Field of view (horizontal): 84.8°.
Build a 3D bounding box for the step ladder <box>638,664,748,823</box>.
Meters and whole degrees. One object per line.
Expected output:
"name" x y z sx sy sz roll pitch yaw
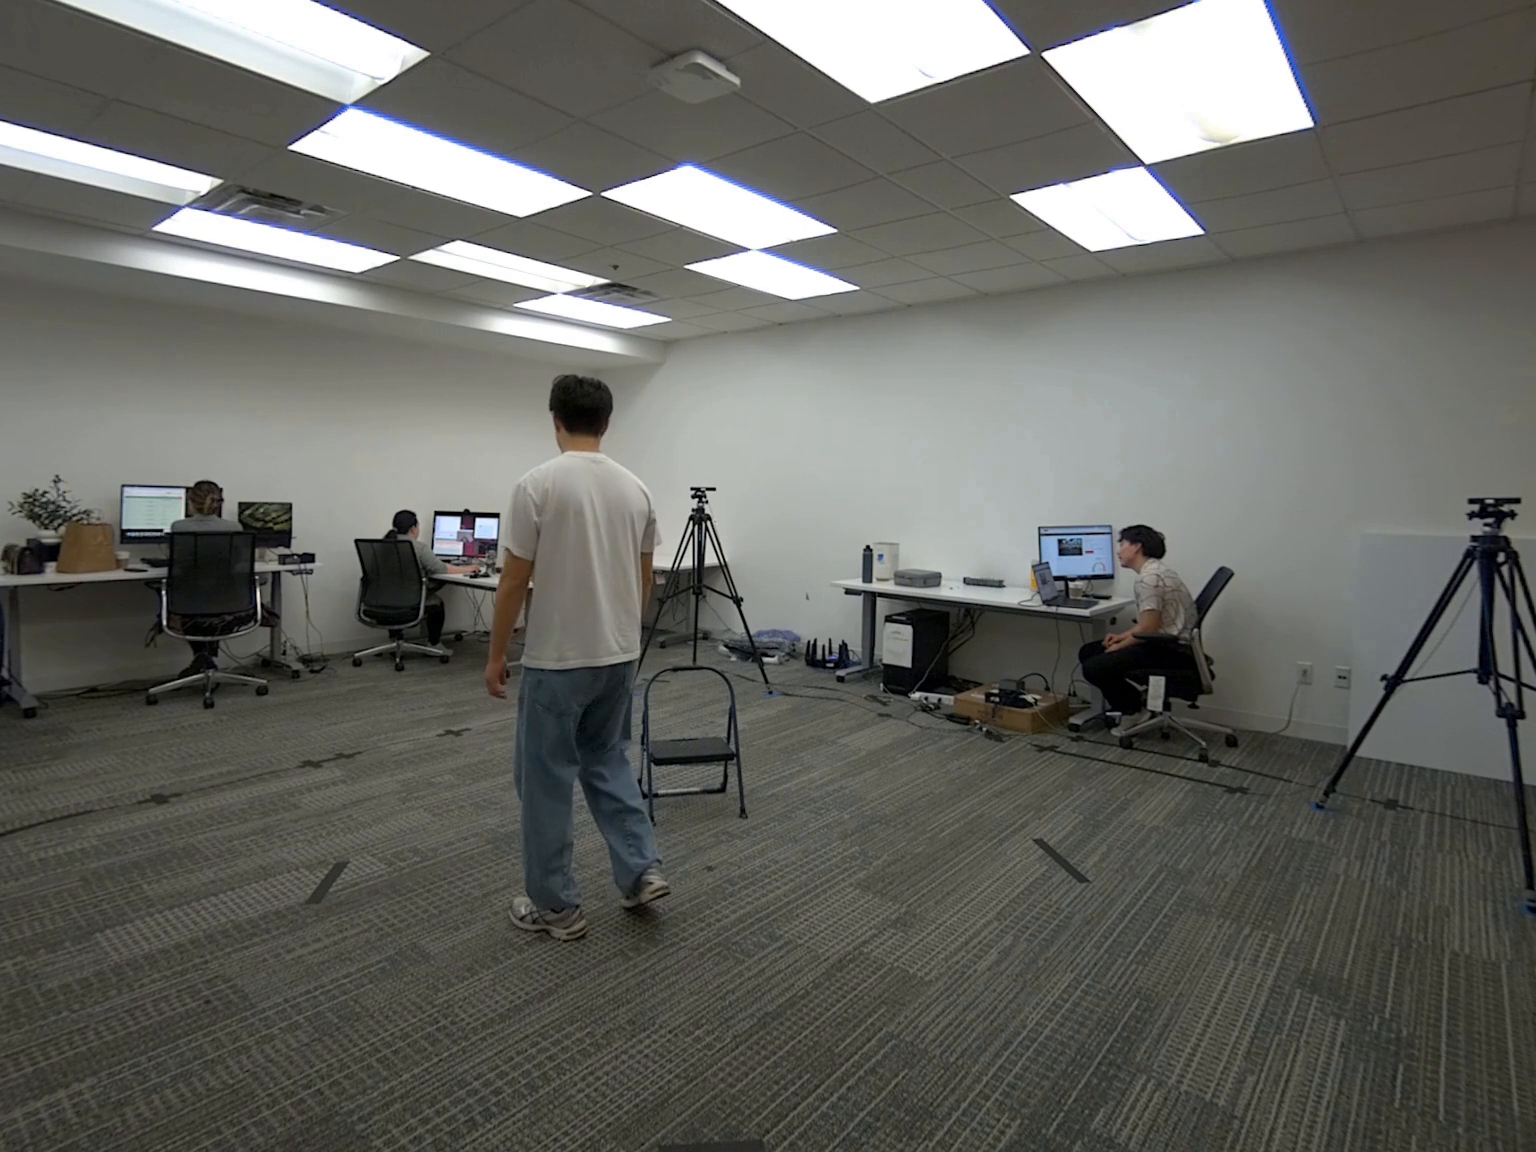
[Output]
"step ladder" -0.343 0.706 3.693 0.423 0.604 0.356 1 3 -17
